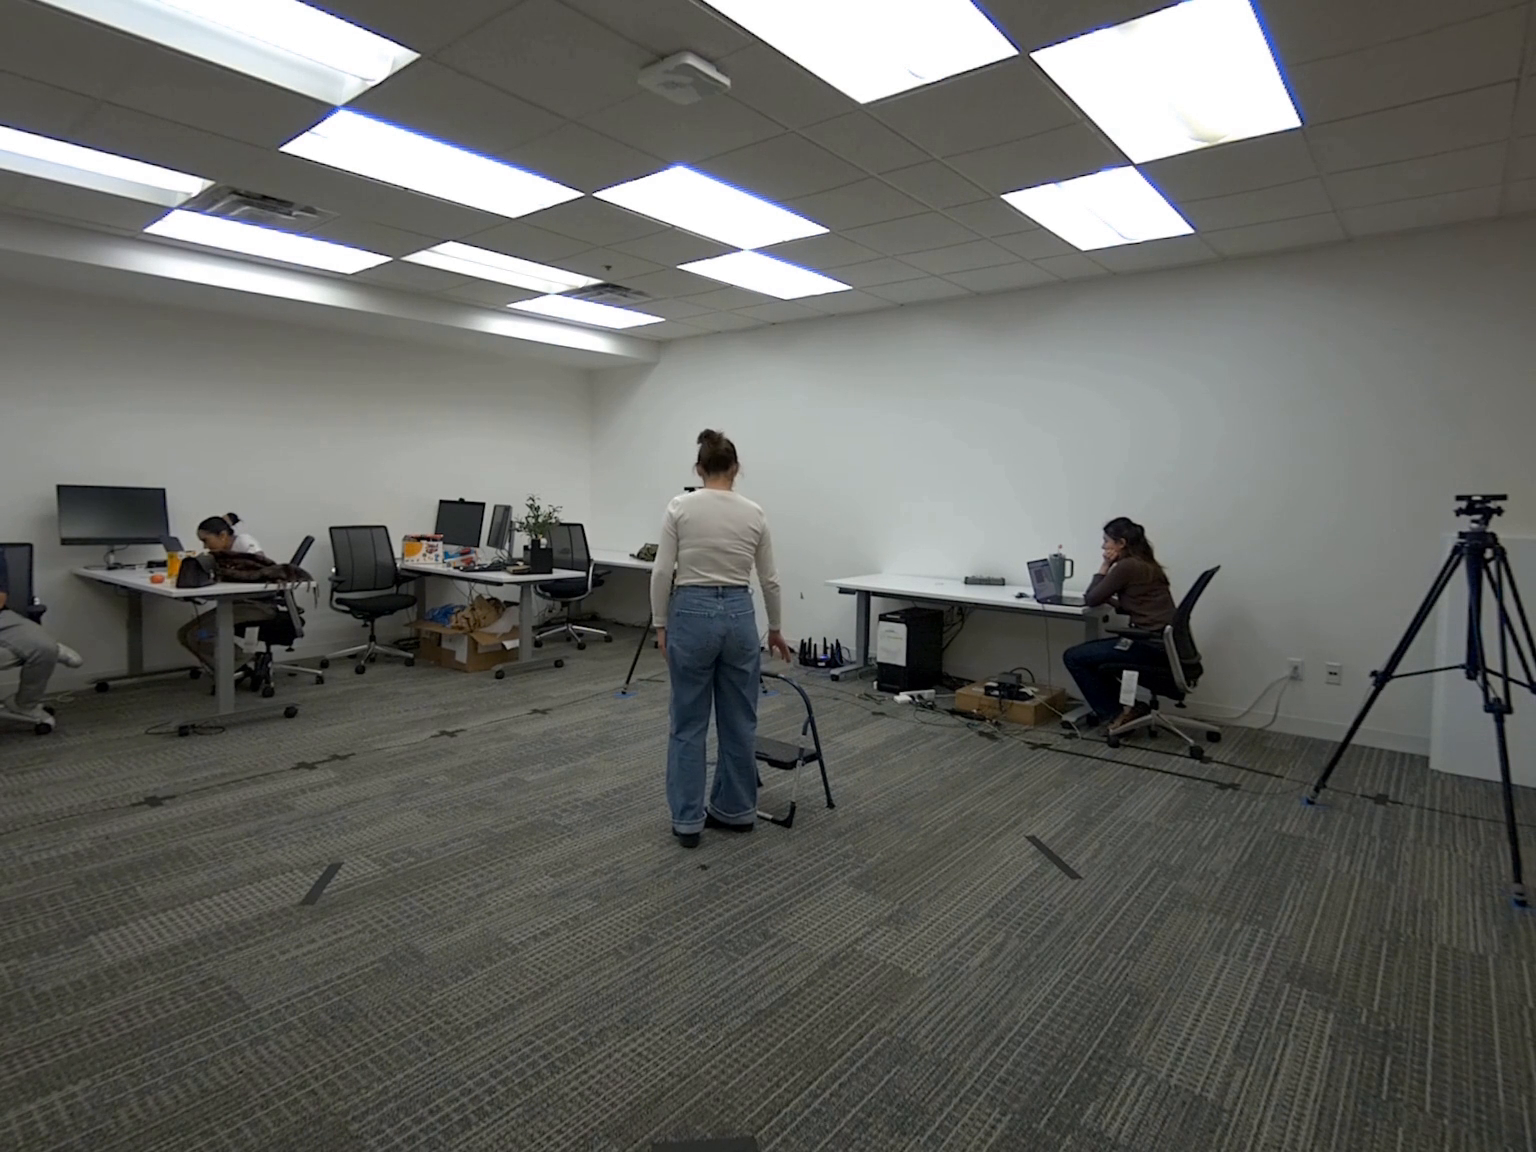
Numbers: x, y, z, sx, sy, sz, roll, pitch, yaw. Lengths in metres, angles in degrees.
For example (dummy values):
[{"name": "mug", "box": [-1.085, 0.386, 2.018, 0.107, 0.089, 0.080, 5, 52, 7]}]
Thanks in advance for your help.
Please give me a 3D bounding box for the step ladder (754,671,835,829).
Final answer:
[{"name": "step ladder", "box": [0.027, 0.708, 3.736, 0.445, 0.605, 0.339, 3, 4, 39]}]
